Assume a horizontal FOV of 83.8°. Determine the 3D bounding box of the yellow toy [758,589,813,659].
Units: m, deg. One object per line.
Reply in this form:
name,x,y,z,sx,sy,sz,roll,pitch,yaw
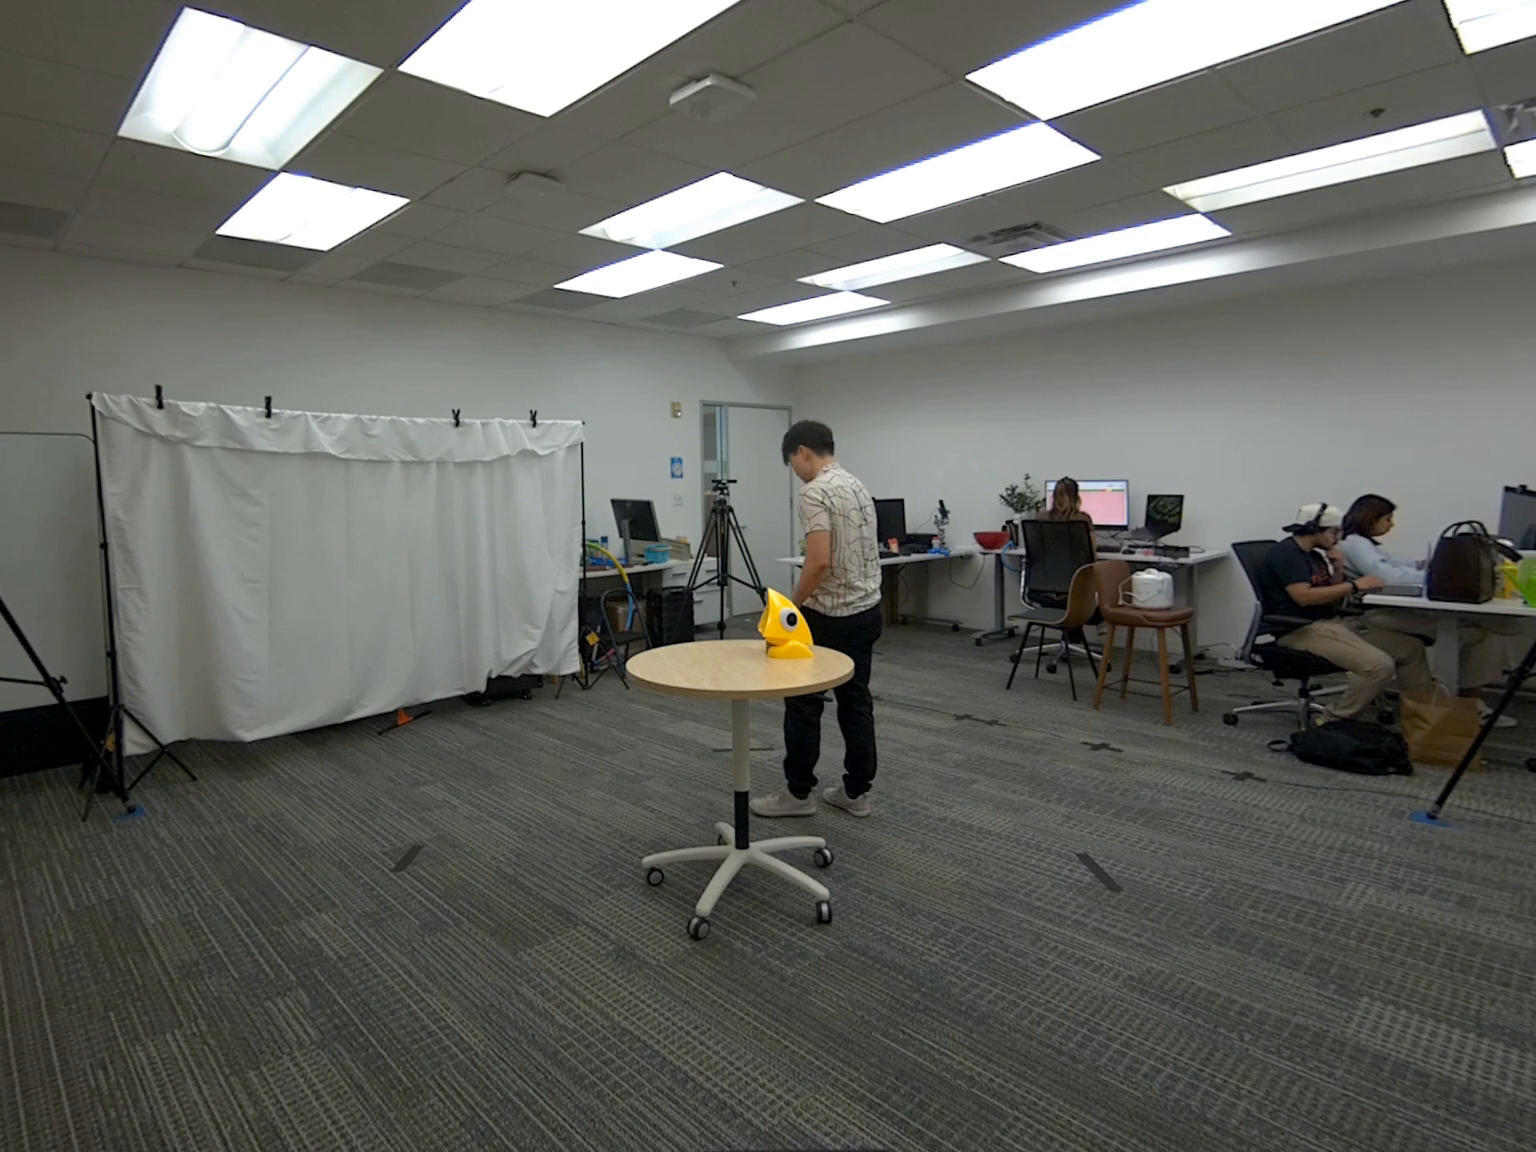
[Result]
yellow toy,0.065,0.159,3.019,0.192,0.230,0.206,-1,4,-4
